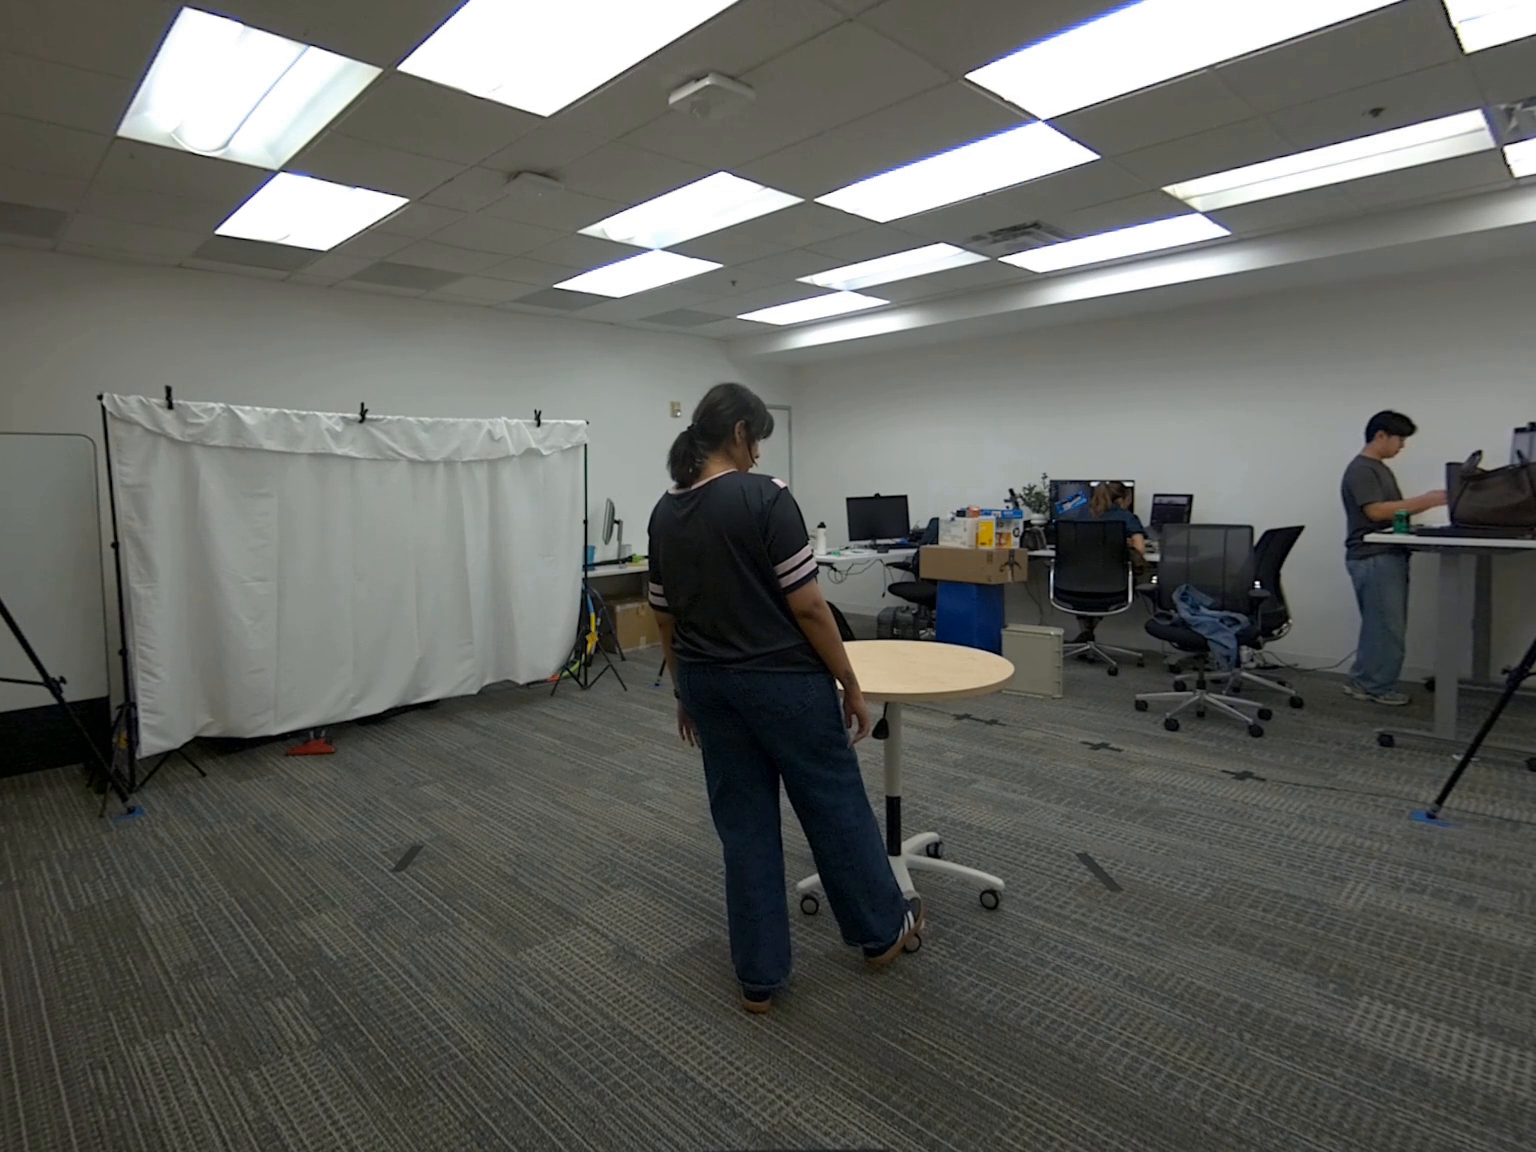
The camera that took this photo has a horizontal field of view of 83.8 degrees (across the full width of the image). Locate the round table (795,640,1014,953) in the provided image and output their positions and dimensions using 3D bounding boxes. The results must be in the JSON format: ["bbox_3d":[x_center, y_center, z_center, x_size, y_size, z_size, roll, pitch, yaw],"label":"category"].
[{"bbox_3d":[0.427,0.681,2.846,0.763,0.791,0.768,-1,5,-2],"label":"round table"}]
